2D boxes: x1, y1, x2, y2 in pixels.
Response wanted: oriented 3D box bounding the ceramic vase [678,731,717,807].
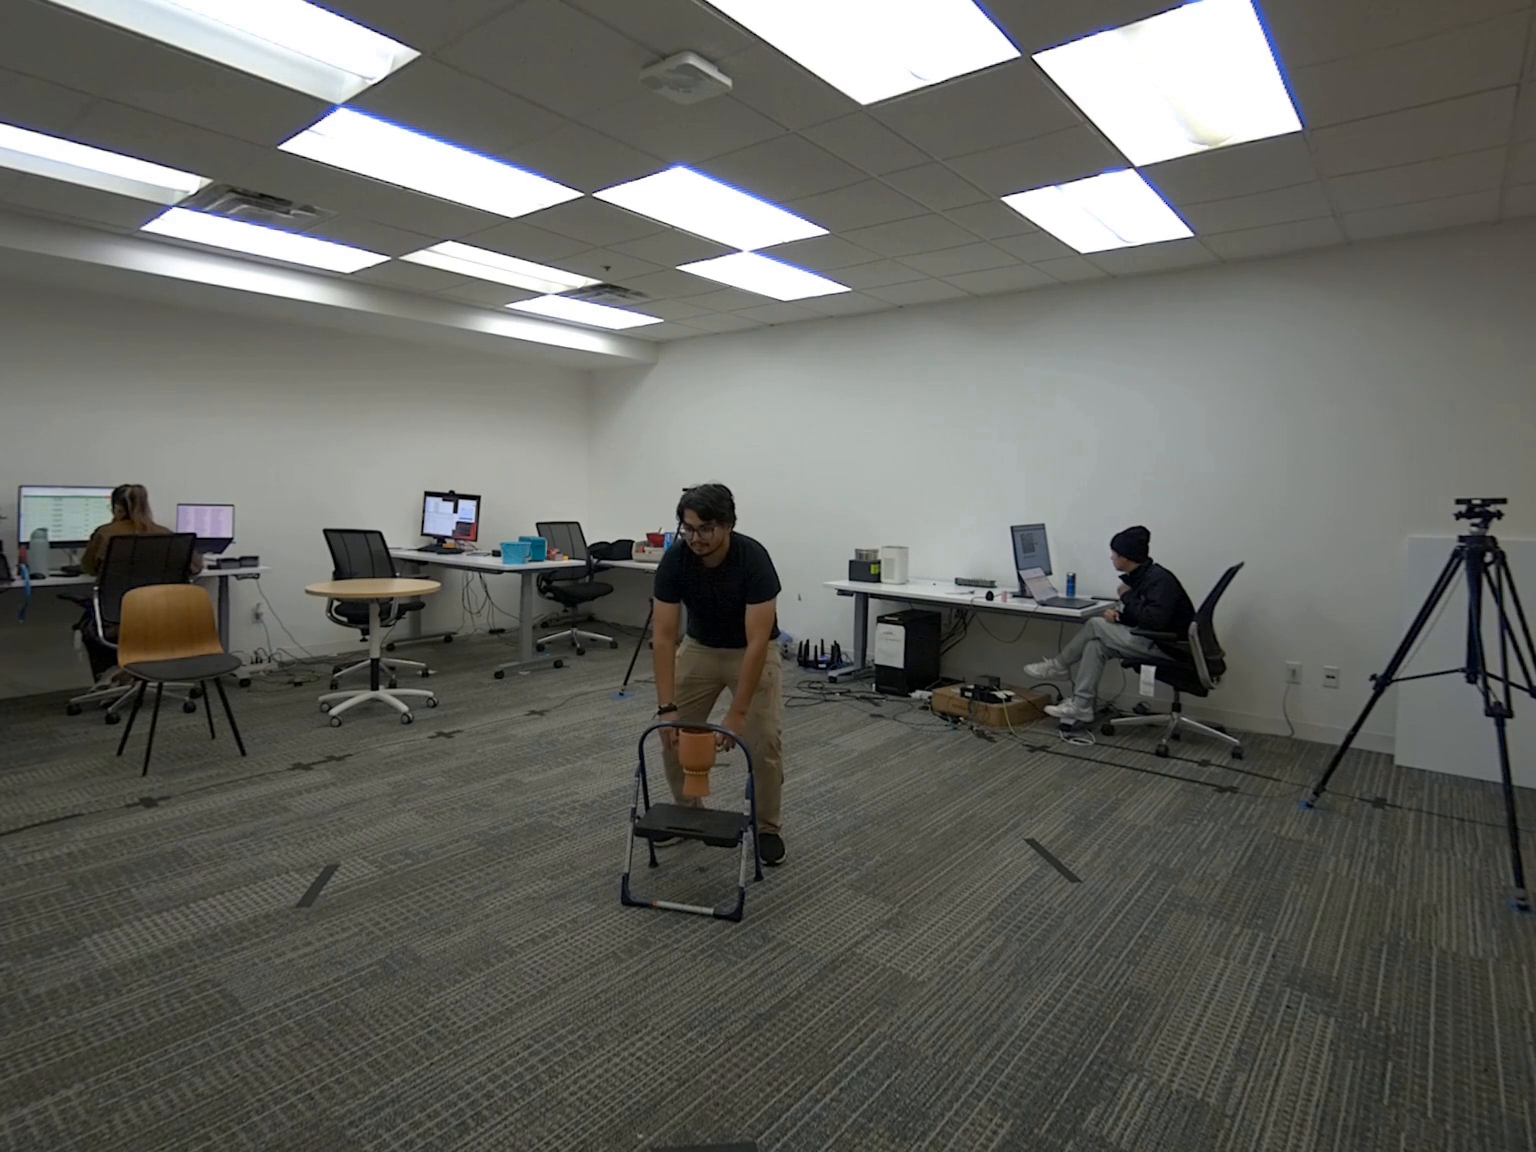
[{"bbox_3d":[-0.265,0.651,3.010,0.164,0.219,0.130,5,2,43],"label":"ceramic vase"}]
